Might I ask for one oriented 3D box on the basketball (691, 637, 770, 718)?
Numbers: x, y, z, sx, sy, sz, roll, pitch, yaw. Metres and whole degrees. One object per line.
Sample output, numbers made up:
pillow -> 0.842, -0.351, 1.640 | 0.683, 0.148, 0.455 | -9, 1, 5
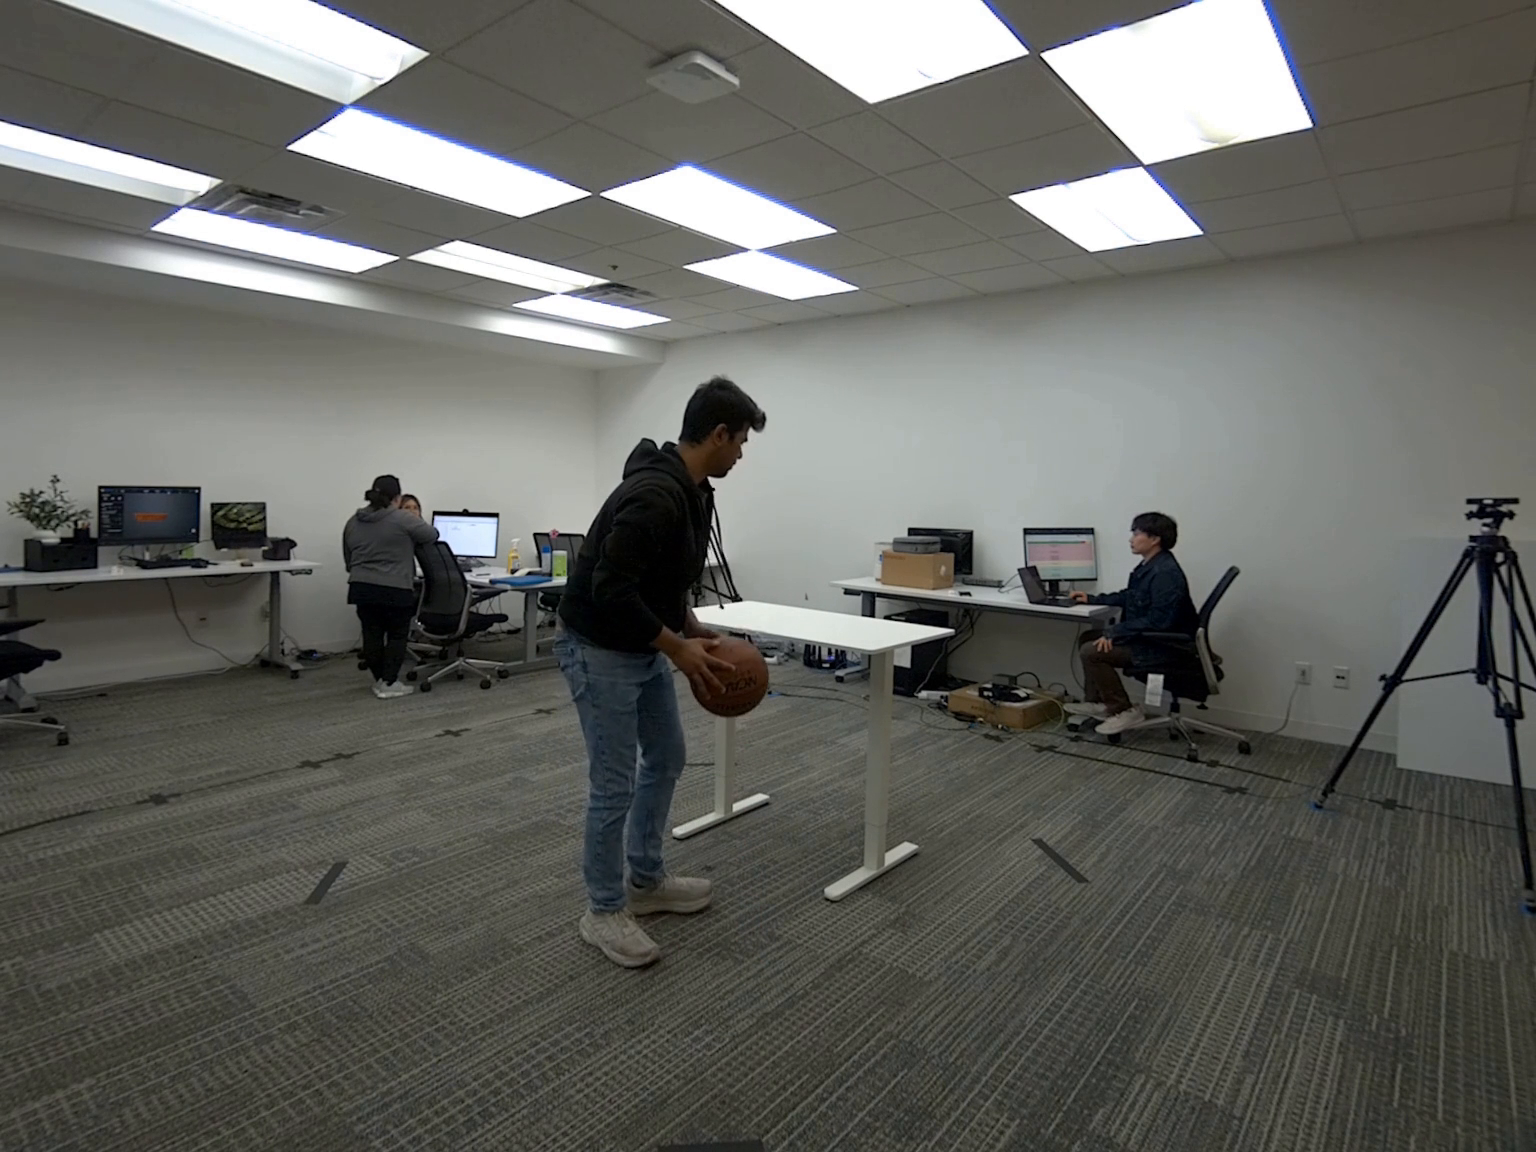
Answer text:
basketball -> -0.124, 0.307, 2.544 | 0.235, 0.235, 0.237 | 1, 4, -2
